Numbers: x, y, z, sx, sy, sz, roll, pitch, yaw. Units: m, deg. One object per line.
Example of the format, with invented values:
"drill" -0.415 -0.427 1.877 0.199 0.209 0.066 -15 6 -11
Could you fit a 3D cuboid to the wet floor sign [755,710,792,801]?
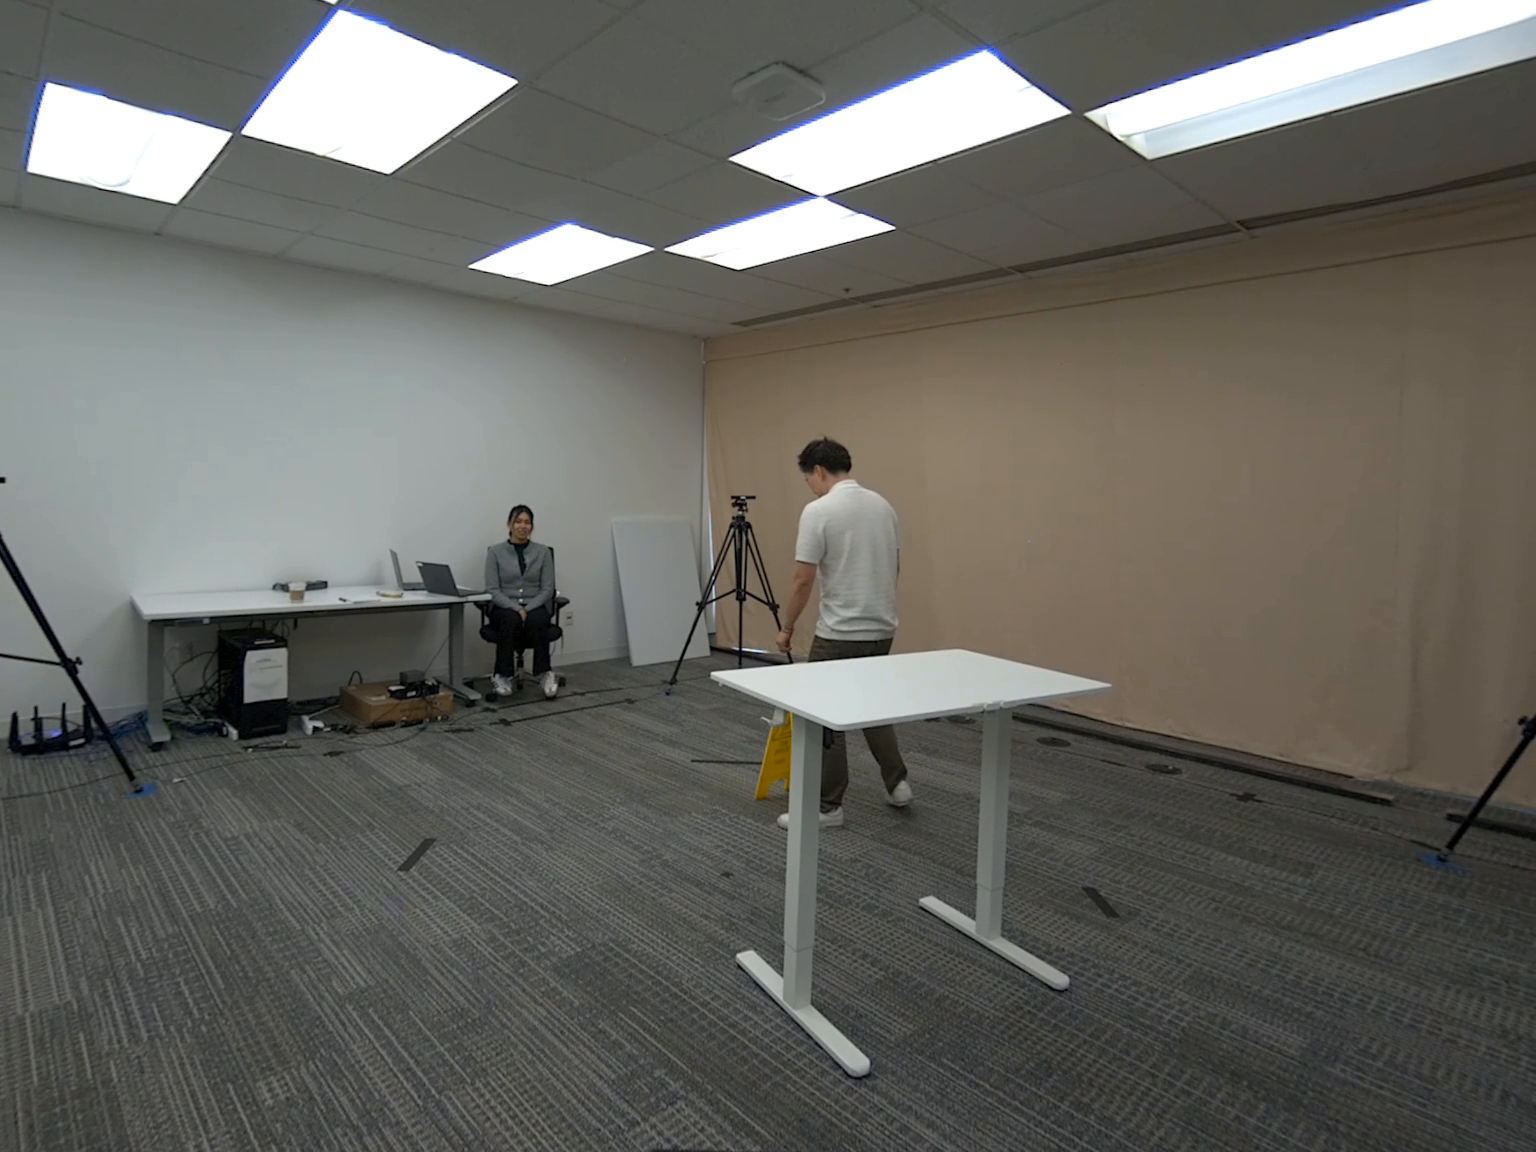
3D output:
"wet floor sign" 0.141 0.723 3.870 0.276 0.645 0.297 -1 3 -44
